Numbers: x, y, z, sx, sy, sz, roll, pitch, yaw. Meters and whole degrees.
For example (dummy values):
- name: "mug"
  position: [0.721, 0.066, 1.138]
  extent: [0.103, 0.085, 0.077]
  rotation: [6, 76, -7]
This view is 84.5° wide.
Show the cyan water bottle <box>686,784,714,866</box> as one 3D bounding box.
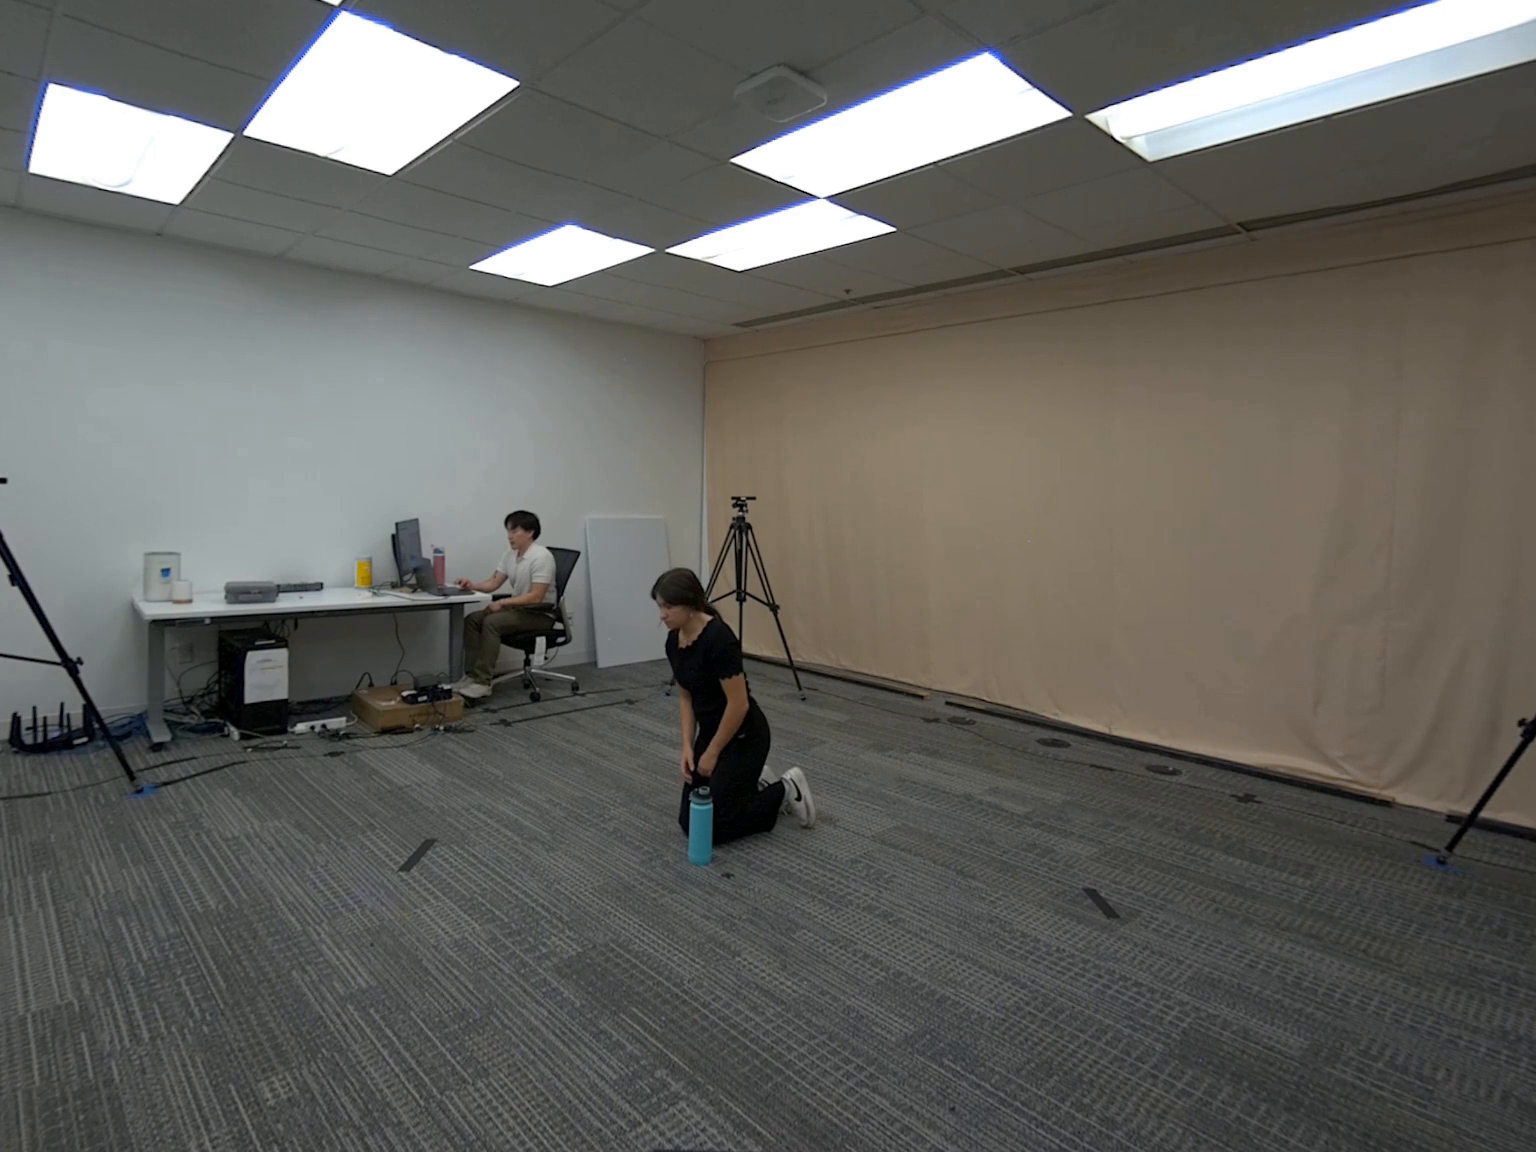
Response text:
- name: "cyan water bottle"
  position: [-0.272, 0.956, 3.227]
  extent: [0.092, 0.283, 0.092]
  rotation: [0, 1, -1]
